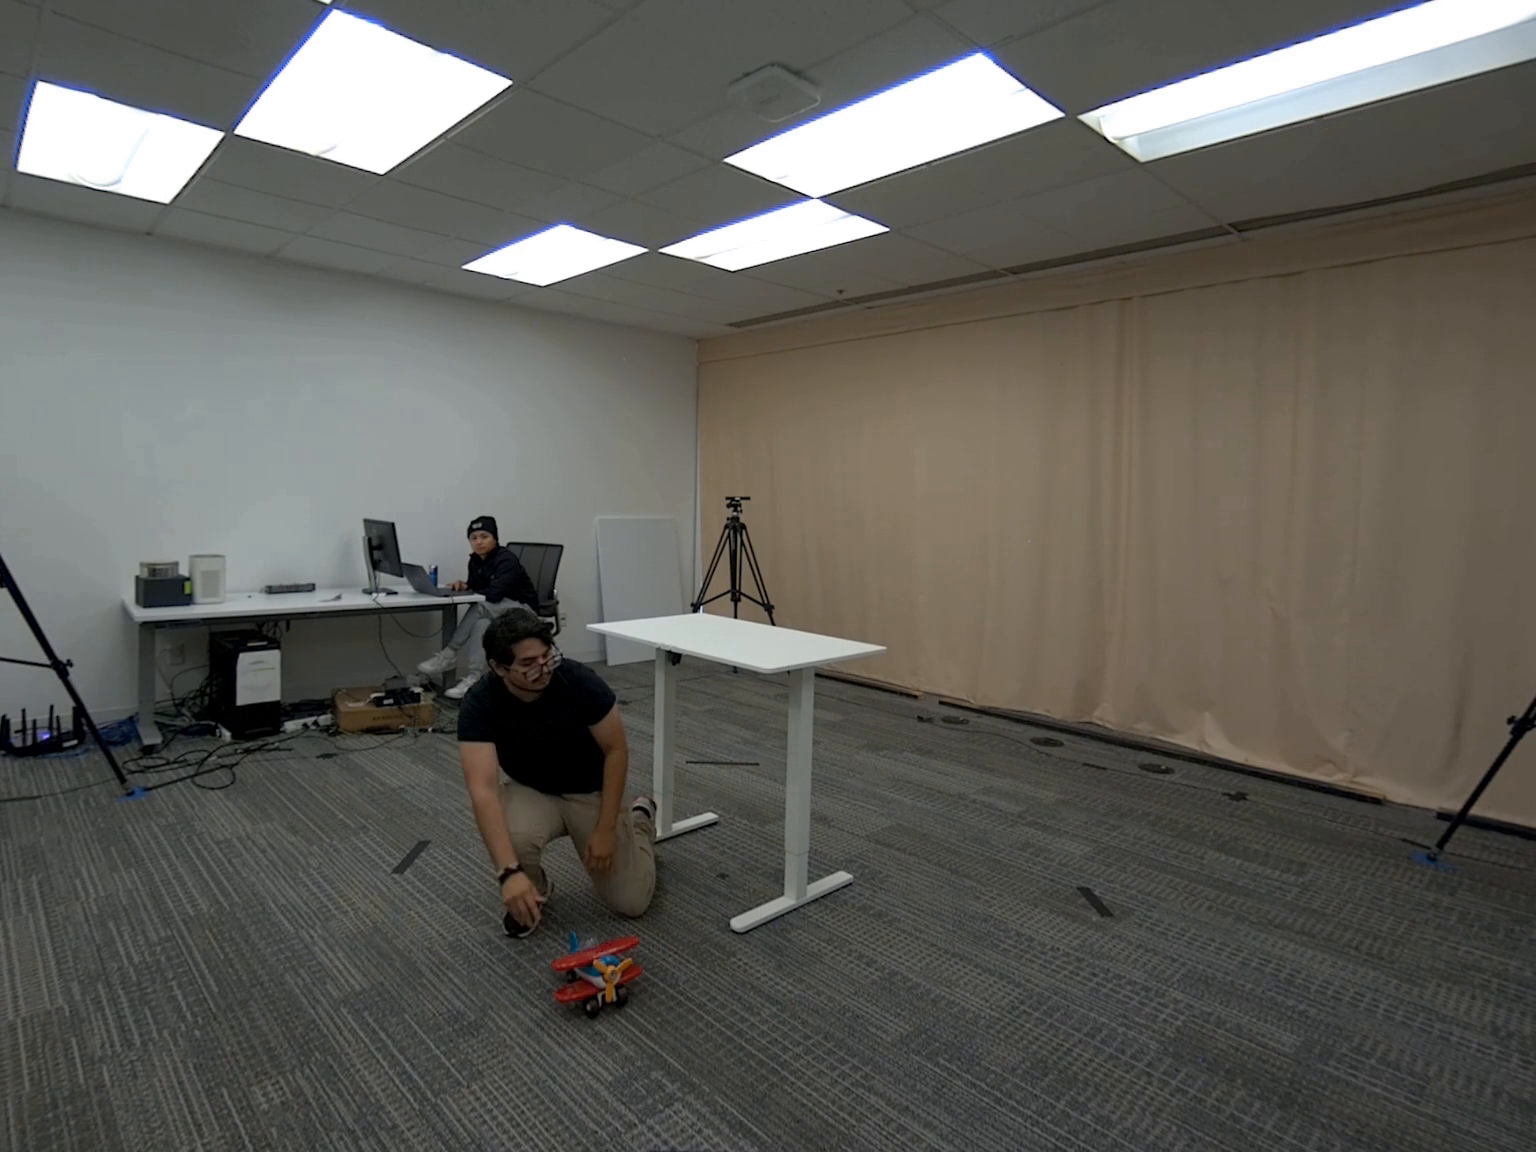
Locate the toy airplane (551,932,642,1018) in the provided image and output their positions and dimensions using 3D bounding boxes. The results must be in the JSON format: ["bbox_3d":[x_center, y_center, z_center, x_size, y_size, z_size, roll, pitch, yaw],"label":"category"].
[{"bbox_3d":[-0.513,1.098,2.322,0.264,0.156,0.247,5,5,24],"label":"toy airplane"}]
